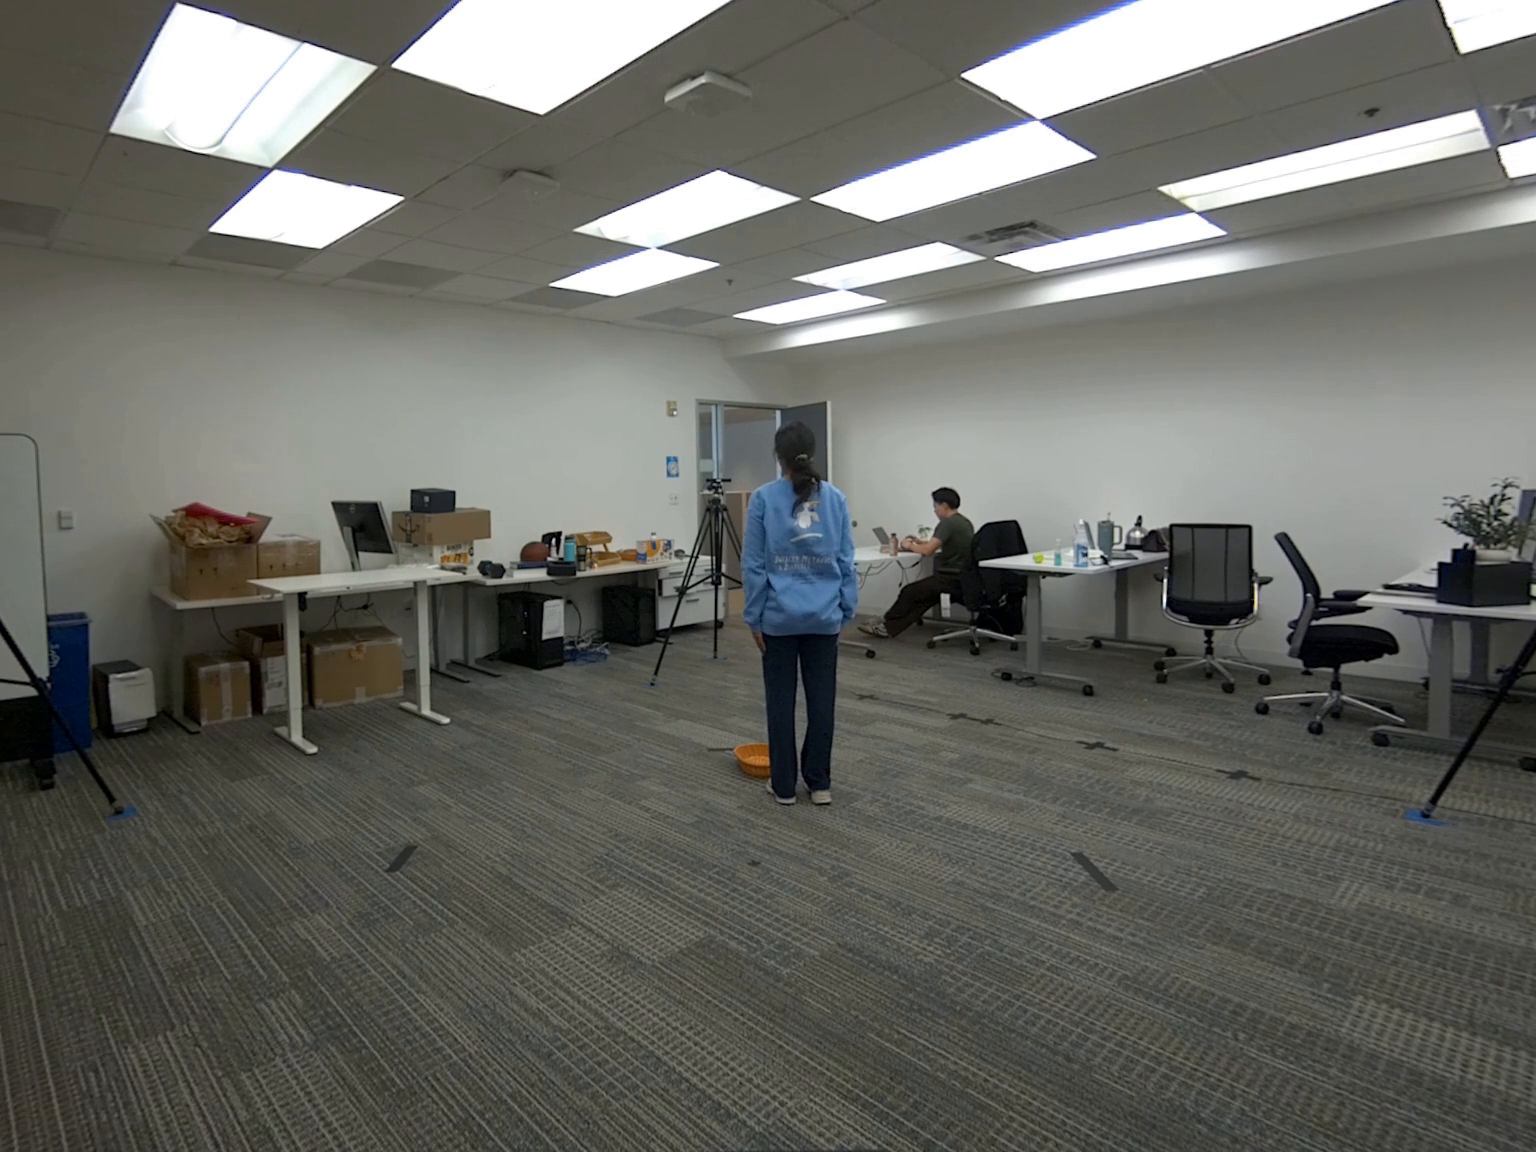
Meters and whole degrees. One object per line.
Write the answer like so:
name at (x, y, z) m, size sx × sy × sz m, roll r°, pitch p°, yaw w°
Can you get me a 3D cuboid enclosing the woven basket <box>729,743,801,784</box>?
woven basket at (-0.023, 0.894, 4.132) m, size 0.249 × 0.073 × 0.356 m, roll -2°, pitch 5°, yaw -15°
